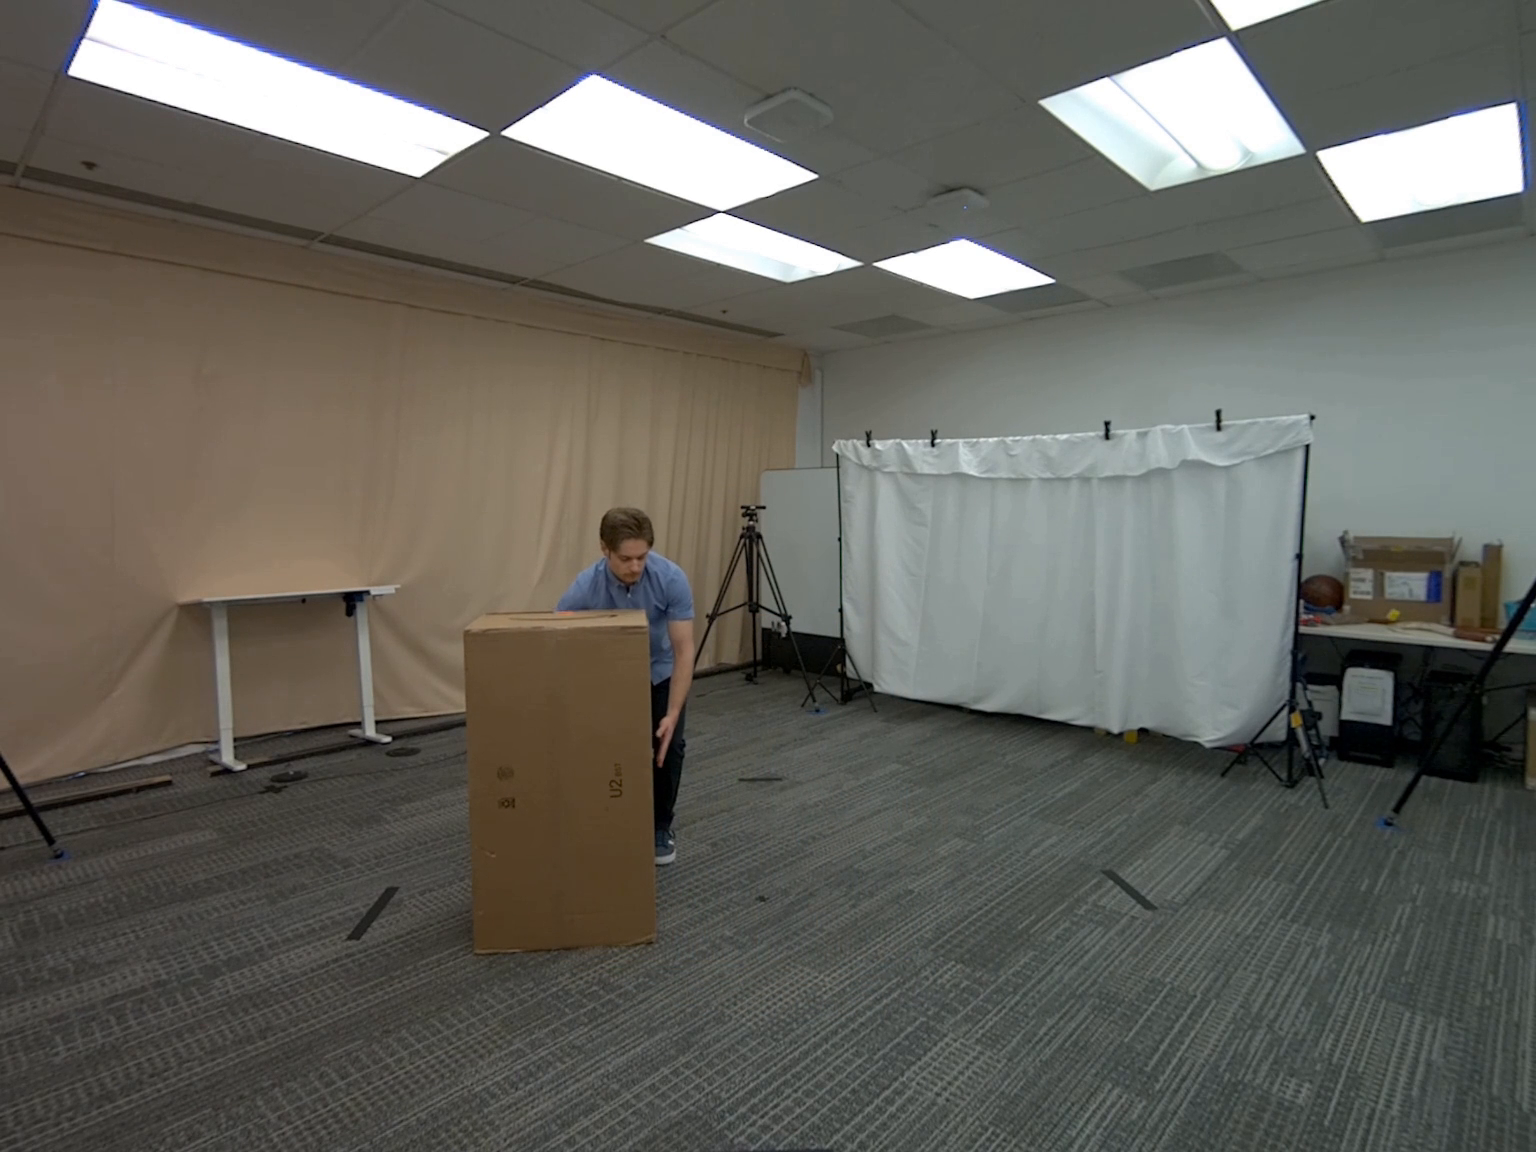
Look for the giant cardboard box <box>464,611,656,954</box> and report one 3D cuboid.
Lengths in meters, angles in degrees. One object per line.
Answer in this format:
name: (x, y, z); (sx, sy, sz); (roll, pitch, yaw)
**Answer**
giant cardboard box: (-0.689, 0.653, 2.835); (0.574, 1.024, 0.430); (-1, 3, -6)
